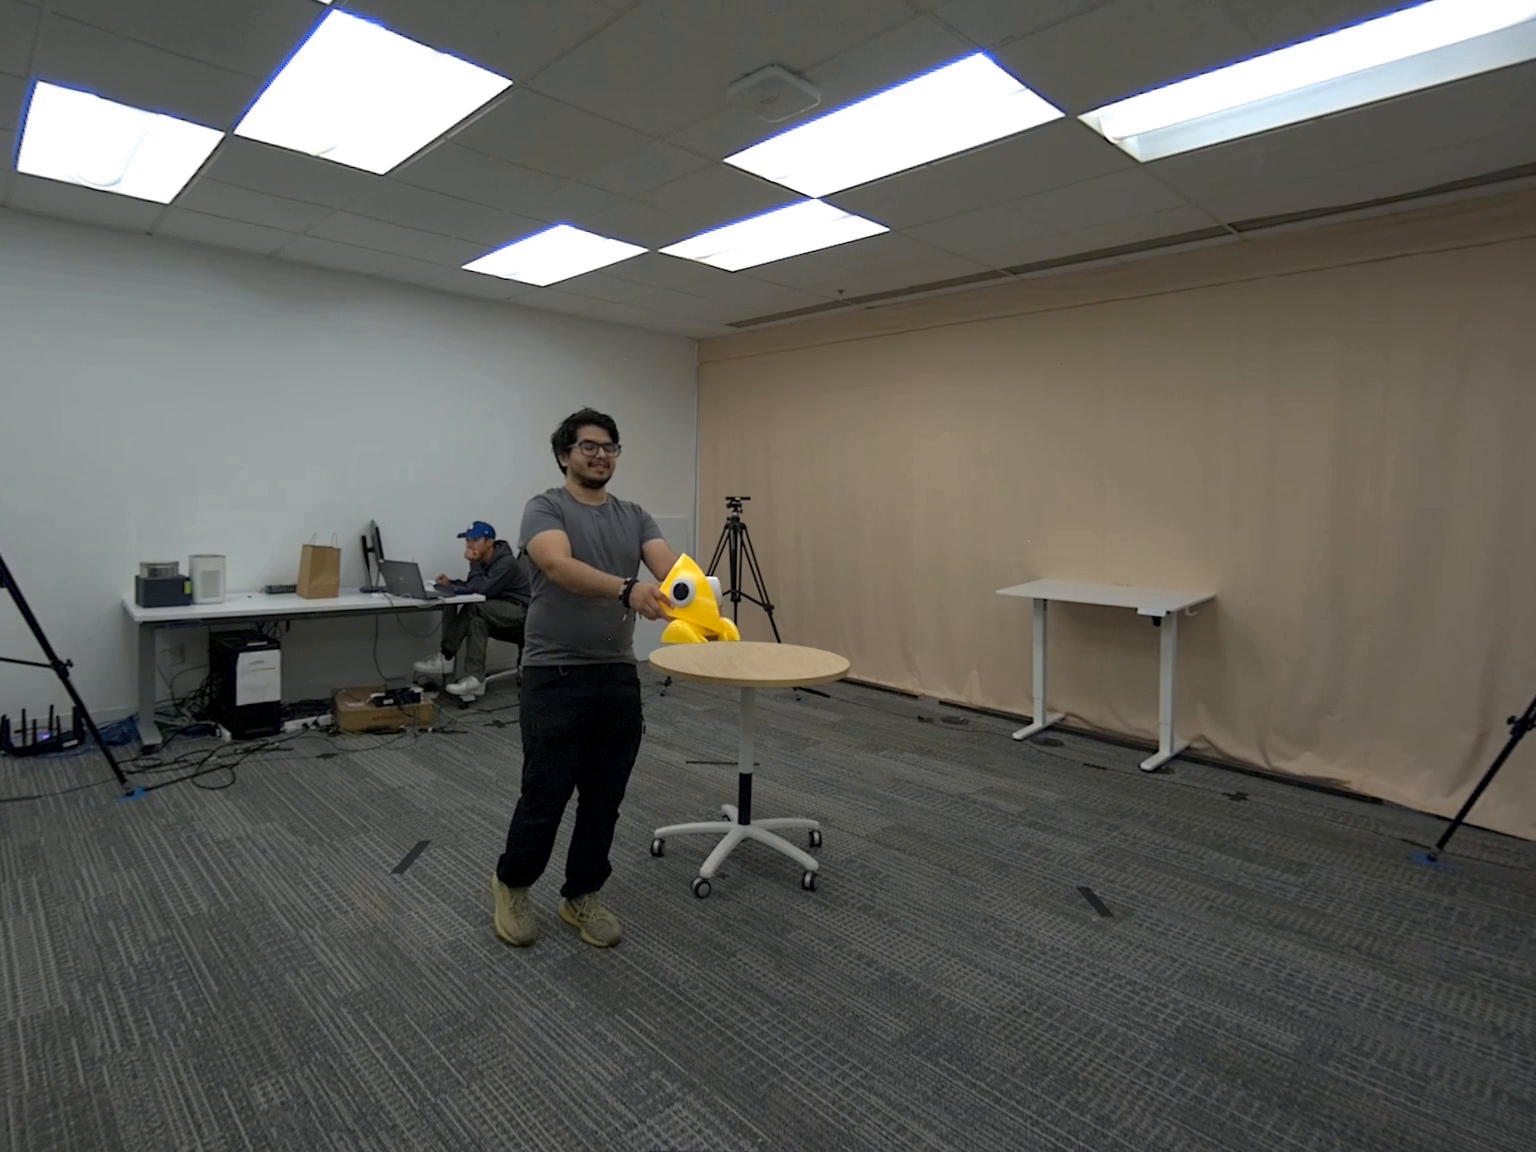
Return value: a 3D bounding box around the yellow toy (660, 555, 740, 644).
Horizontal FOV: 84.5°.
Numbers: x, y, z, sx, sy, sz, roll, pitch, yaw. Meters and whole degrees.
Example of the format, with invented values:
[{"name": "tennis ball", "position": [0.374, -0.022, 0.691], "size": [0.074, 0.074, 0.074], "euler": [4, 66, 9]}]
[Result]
[{"name": "yellow toy", "position": [-0.190, 0.058, 2.210], "size": [0.200, 0.231, 0.197], "euler": [2, -3, -42]}]
